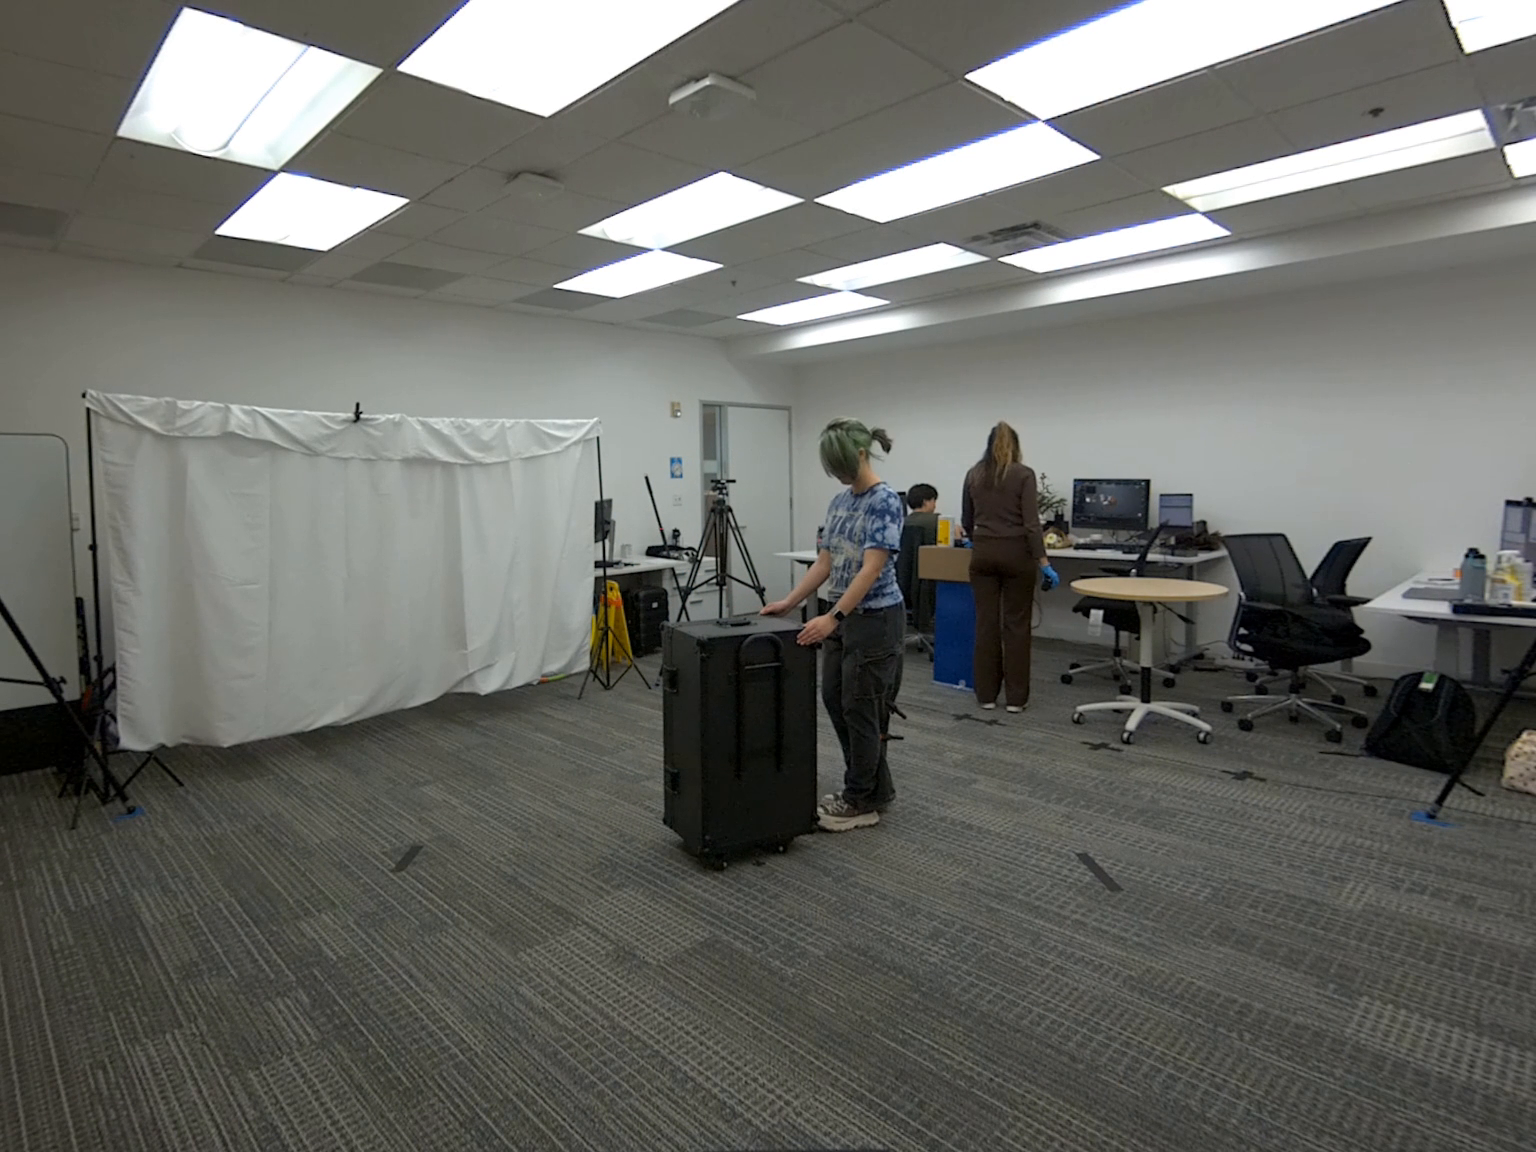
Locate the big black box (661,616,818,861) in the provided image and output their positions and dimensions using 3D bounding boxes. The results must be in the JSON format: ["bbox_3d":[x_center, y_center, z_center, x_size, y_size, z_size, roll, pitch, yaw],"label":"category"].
[{"bbox_3d":[-0.101,0.610,3.228,0.509,0.858,0.407,-2,5,-28],"label":"big black box"}]
